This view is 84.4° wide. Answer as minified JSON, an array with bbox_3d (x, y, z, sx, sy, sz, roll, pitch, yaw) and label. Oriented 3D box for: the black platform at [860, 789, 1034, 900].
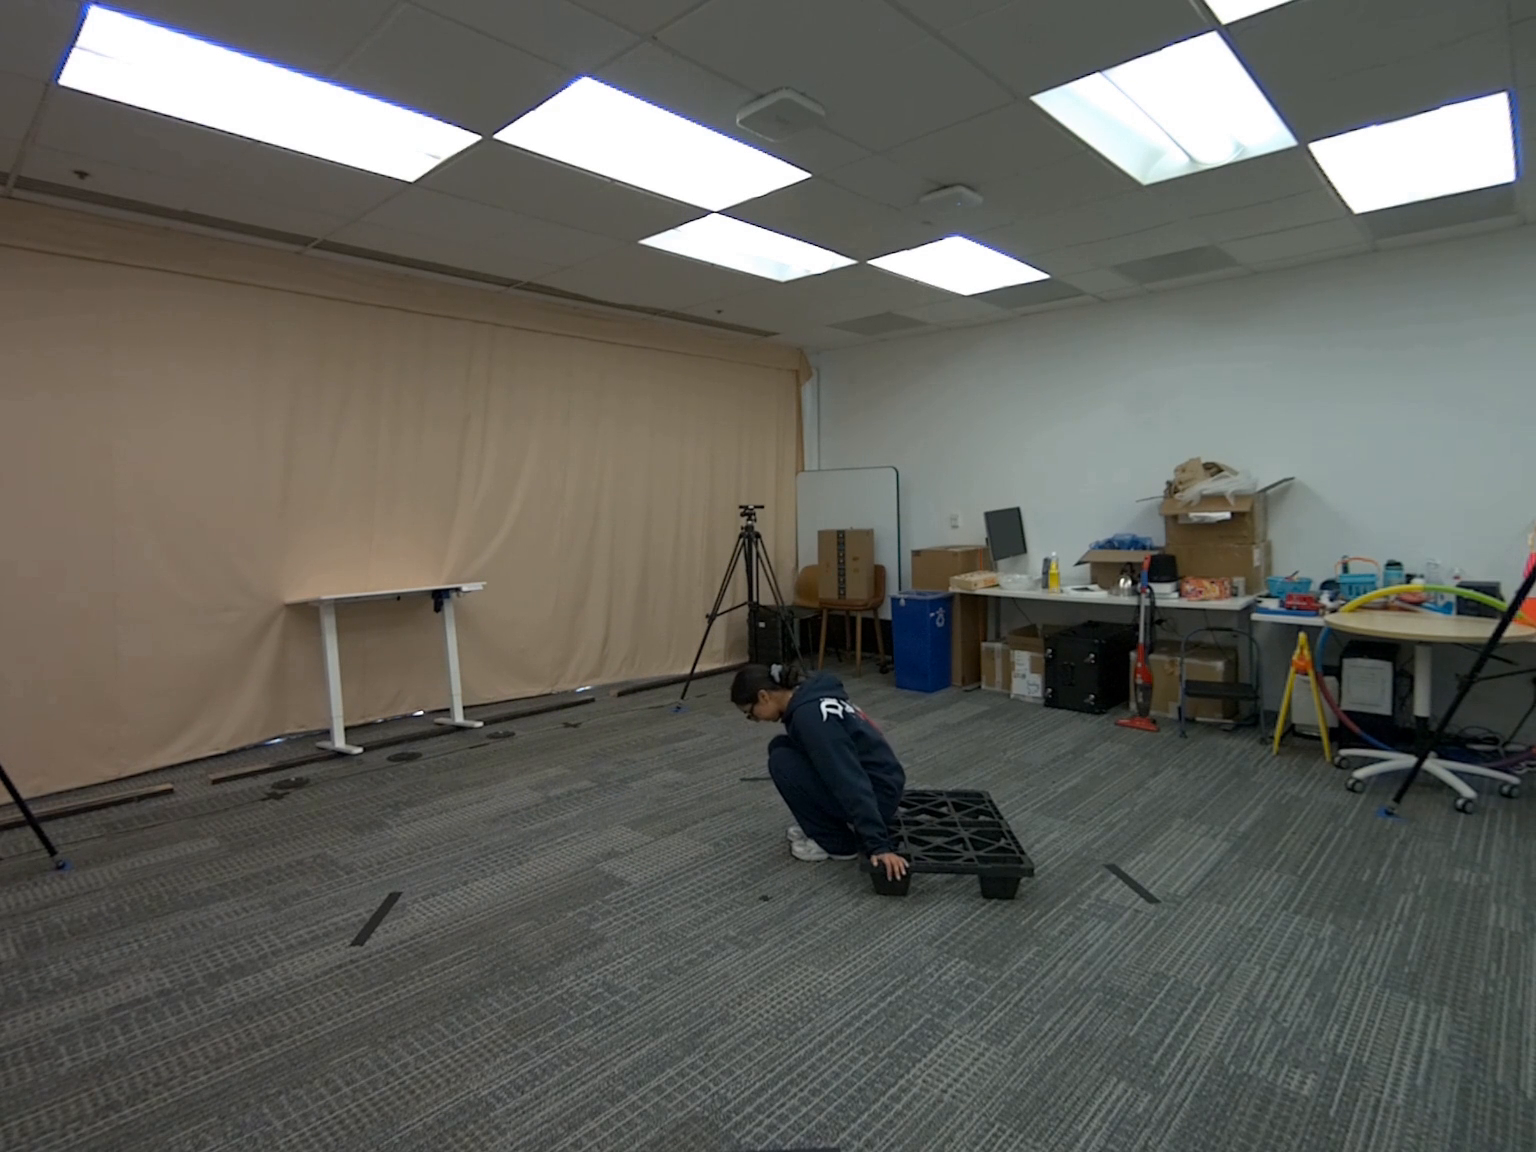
[{"bbox_3d":[0.655,1.033,3.309,0.608,0.143,0.804,1,5,4],"label":"black platform"}]
